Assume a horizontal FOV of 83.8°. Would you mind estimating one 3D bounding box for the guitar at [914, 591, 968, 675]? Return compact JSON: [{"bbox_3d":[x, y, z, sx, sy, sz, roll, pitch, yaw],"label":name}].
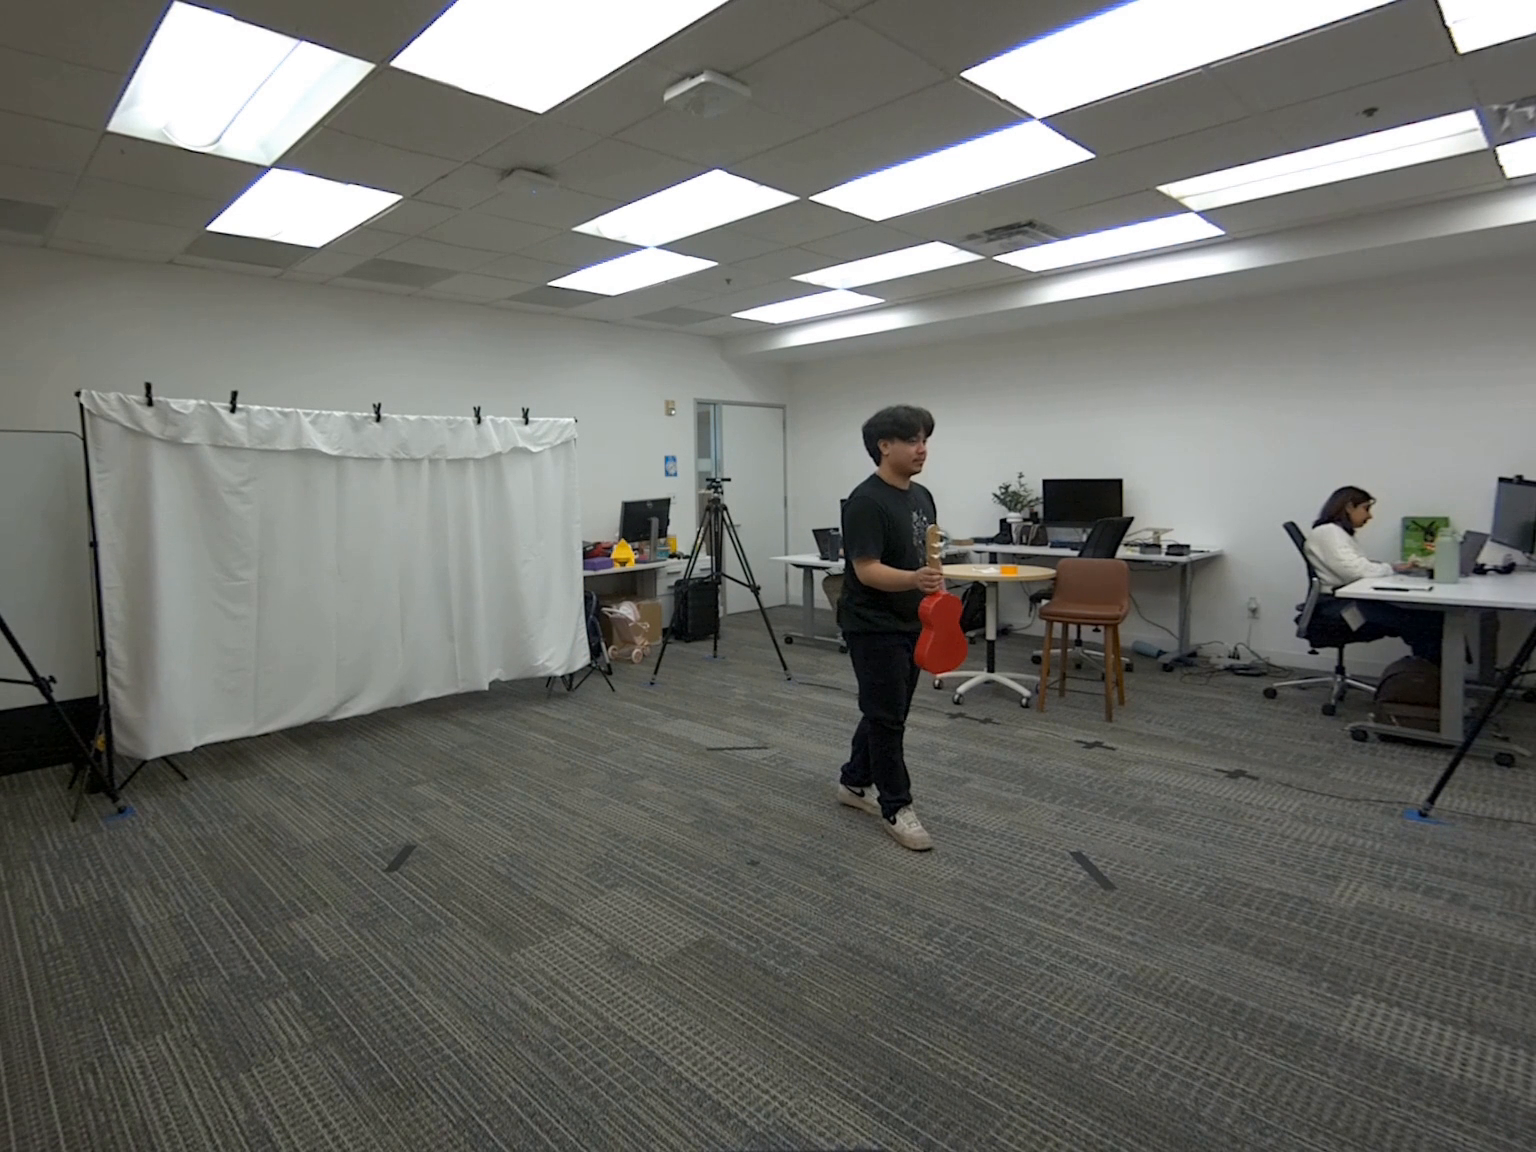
[{"bbox_3d":[0.553,0.090,2.868,0.190,0.489,0.073,-20,18,-28],"label":"guitar"}]
